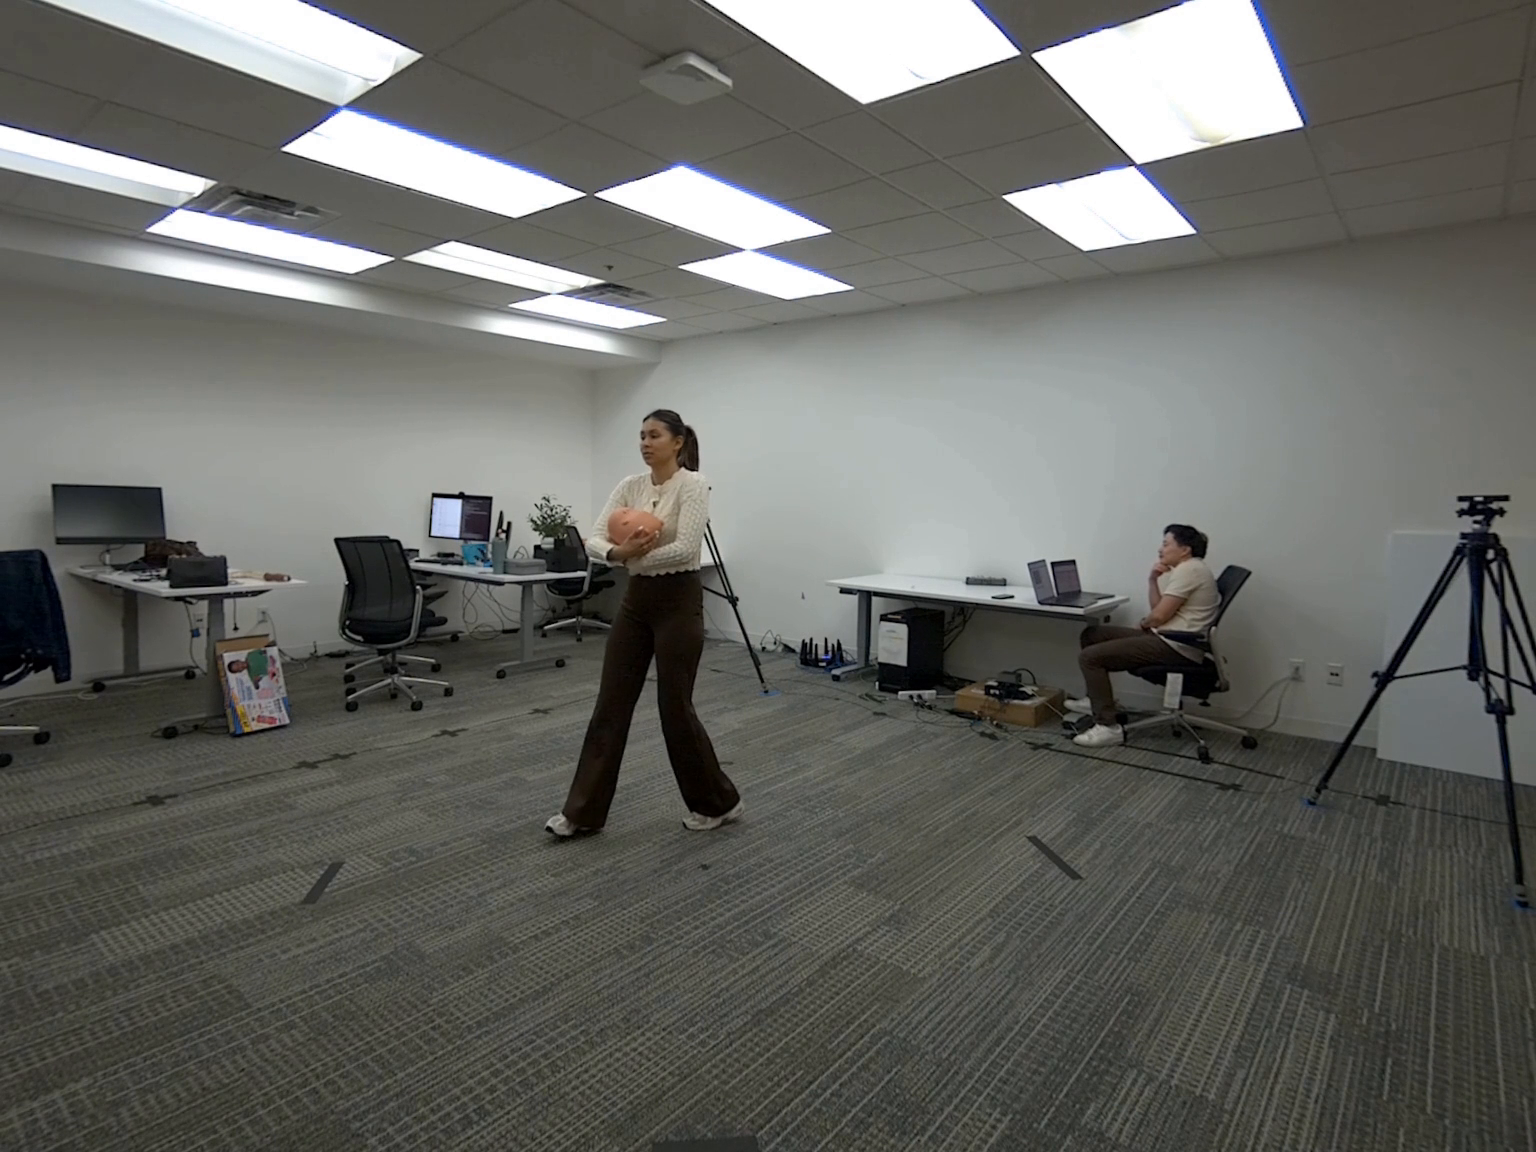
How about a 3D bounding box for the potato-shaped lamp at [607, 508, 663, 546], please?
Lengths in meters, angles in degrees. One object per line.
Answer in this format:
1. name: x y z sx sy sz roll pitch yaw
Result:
1. potato-shaped lamp: -0.545 -0.188 3.249 0.203 0.169 0.163 35 36 17
